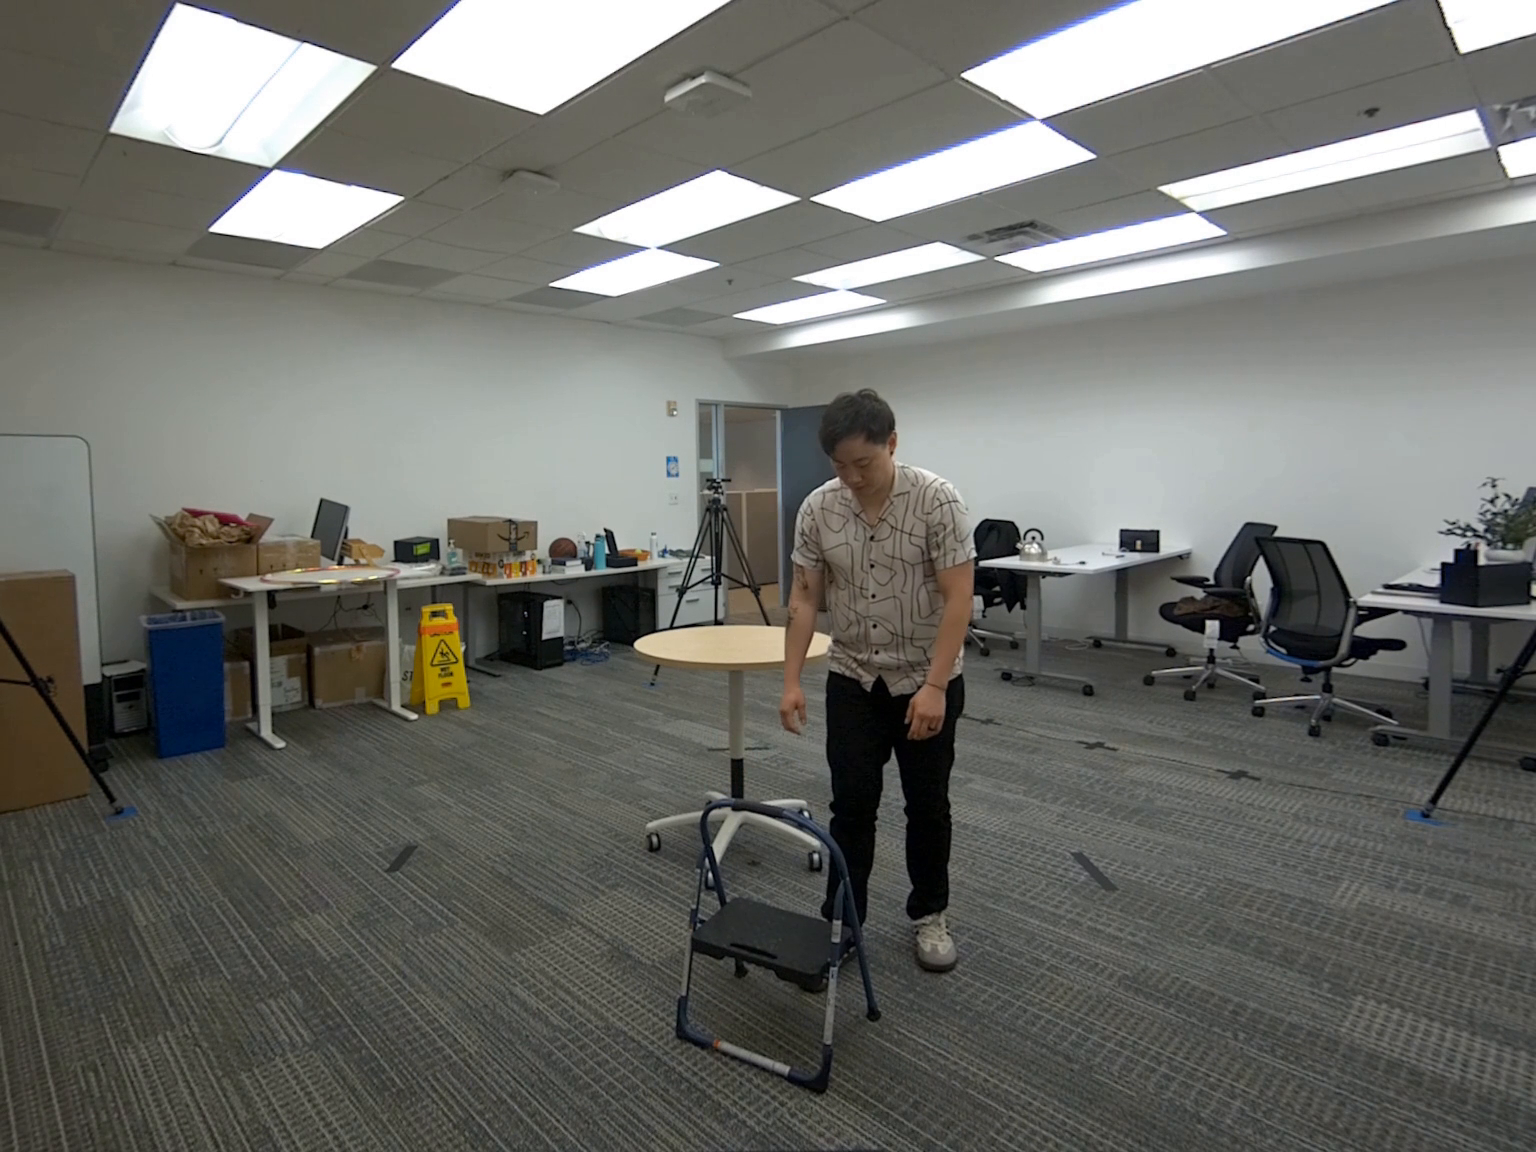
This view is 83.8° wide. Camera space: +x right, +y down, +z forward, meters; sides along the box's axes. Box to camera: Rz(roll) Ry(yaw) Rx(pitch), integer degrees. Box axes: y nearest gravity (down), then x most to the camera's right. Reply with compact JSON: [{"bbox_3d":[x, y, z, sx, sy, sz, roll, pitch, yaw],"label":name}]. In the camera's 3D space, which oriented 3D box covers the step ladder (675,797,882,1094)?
[{"bbox_3d":[0.027,0.855,2.158,0.442,0.603,0.342,2,6,30],"label":"step ladder"}]
